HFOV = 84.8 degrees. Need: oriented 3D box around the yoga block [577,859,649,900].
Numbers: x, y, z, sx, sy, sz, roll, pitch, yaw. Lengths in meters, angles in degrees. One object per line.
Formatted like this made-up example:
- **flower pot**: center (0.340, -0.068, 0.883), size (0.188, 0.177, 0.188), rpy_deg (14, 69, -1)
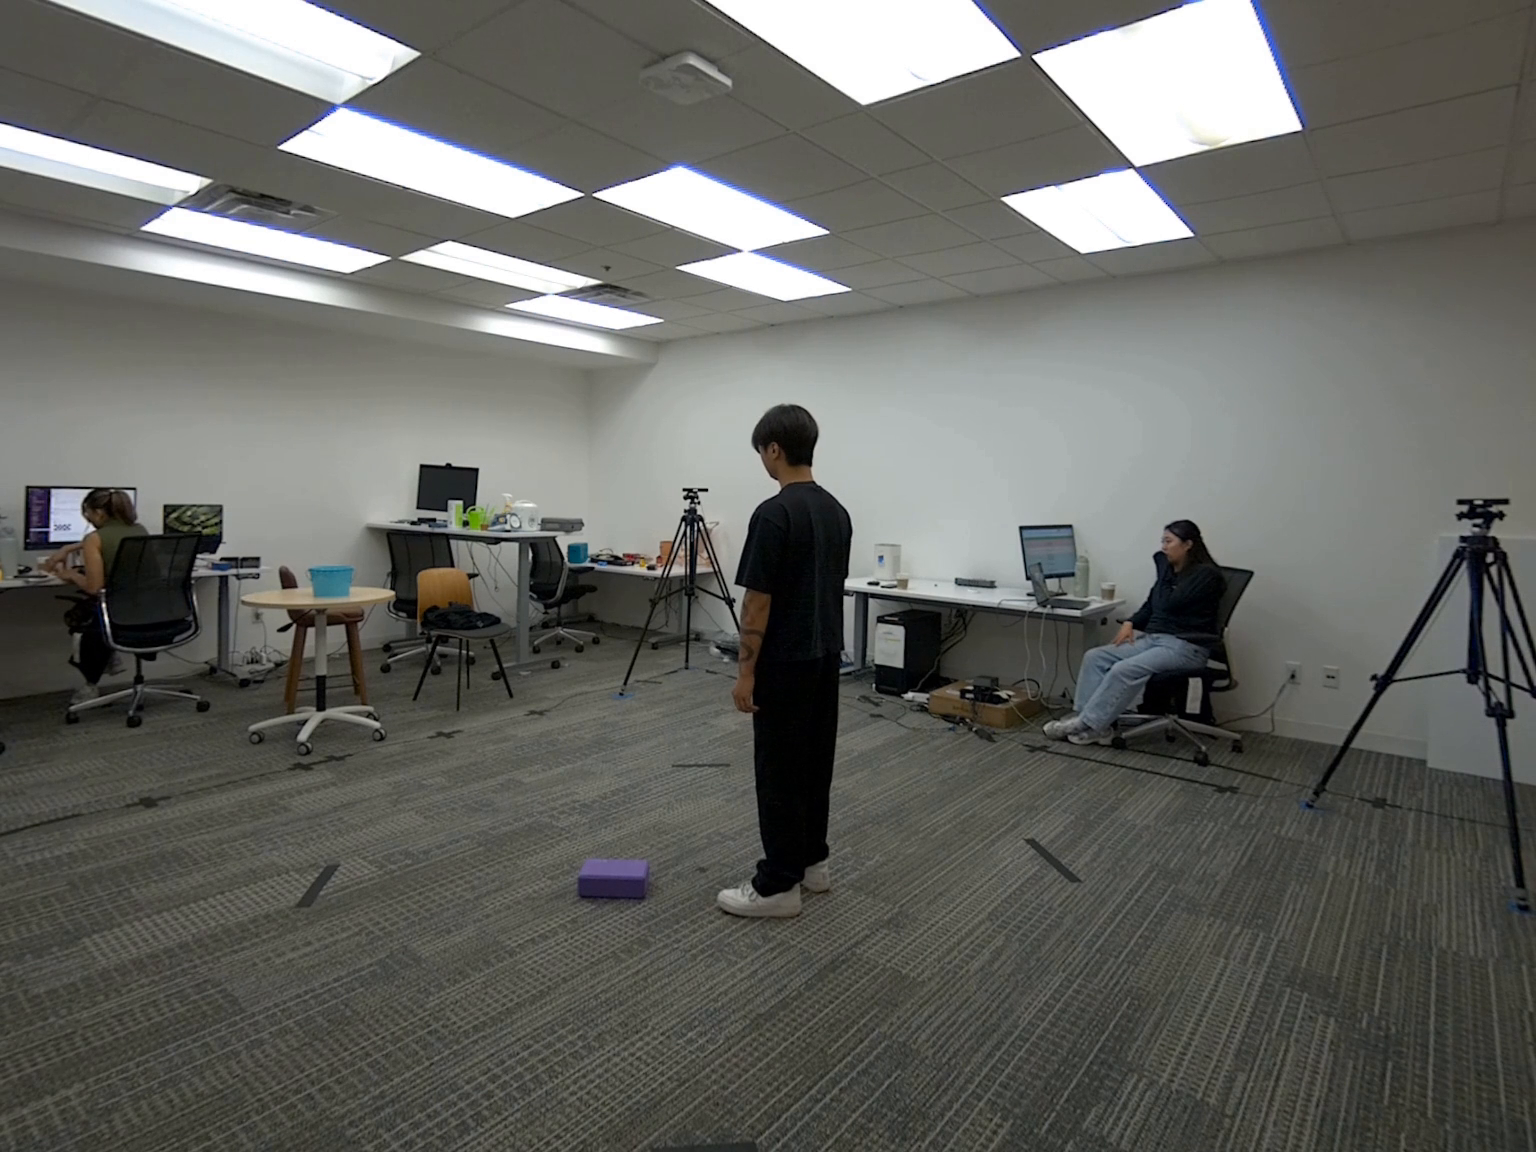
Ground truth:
- **yoga block**: center (-0.541, 1.043, 2.942), size (0.230, 0.076, 0.149), rpy_deg (0, 3, 1)
